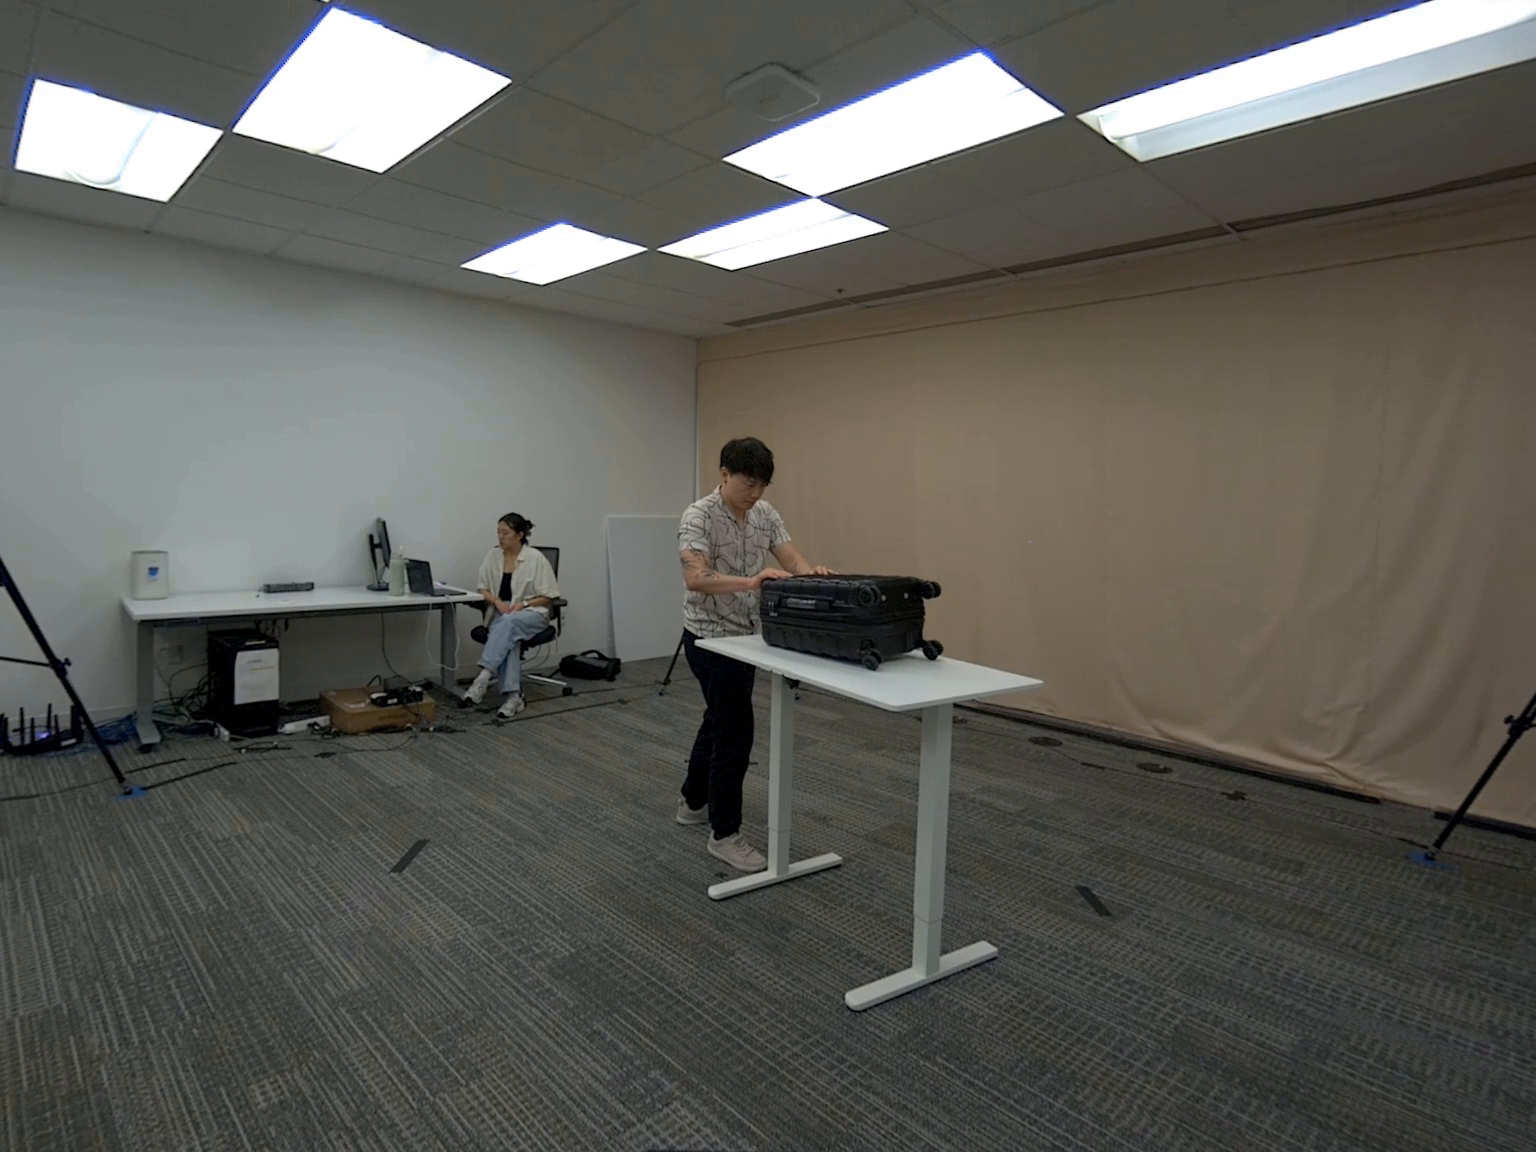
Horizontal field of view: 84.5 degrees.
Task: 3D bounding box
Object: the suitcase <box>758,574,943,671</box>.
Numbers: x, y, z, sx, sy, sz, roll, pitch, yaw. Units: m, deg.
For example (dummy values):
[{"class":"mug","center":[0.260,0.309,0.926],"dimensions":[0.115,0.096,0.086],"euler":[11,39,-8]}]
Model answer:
[{"class":"suitcase","center":[0.232,0.130,2.813],"dimensions":[0.367,0.248,0.563],"euler":[-3,5,-40]}]
